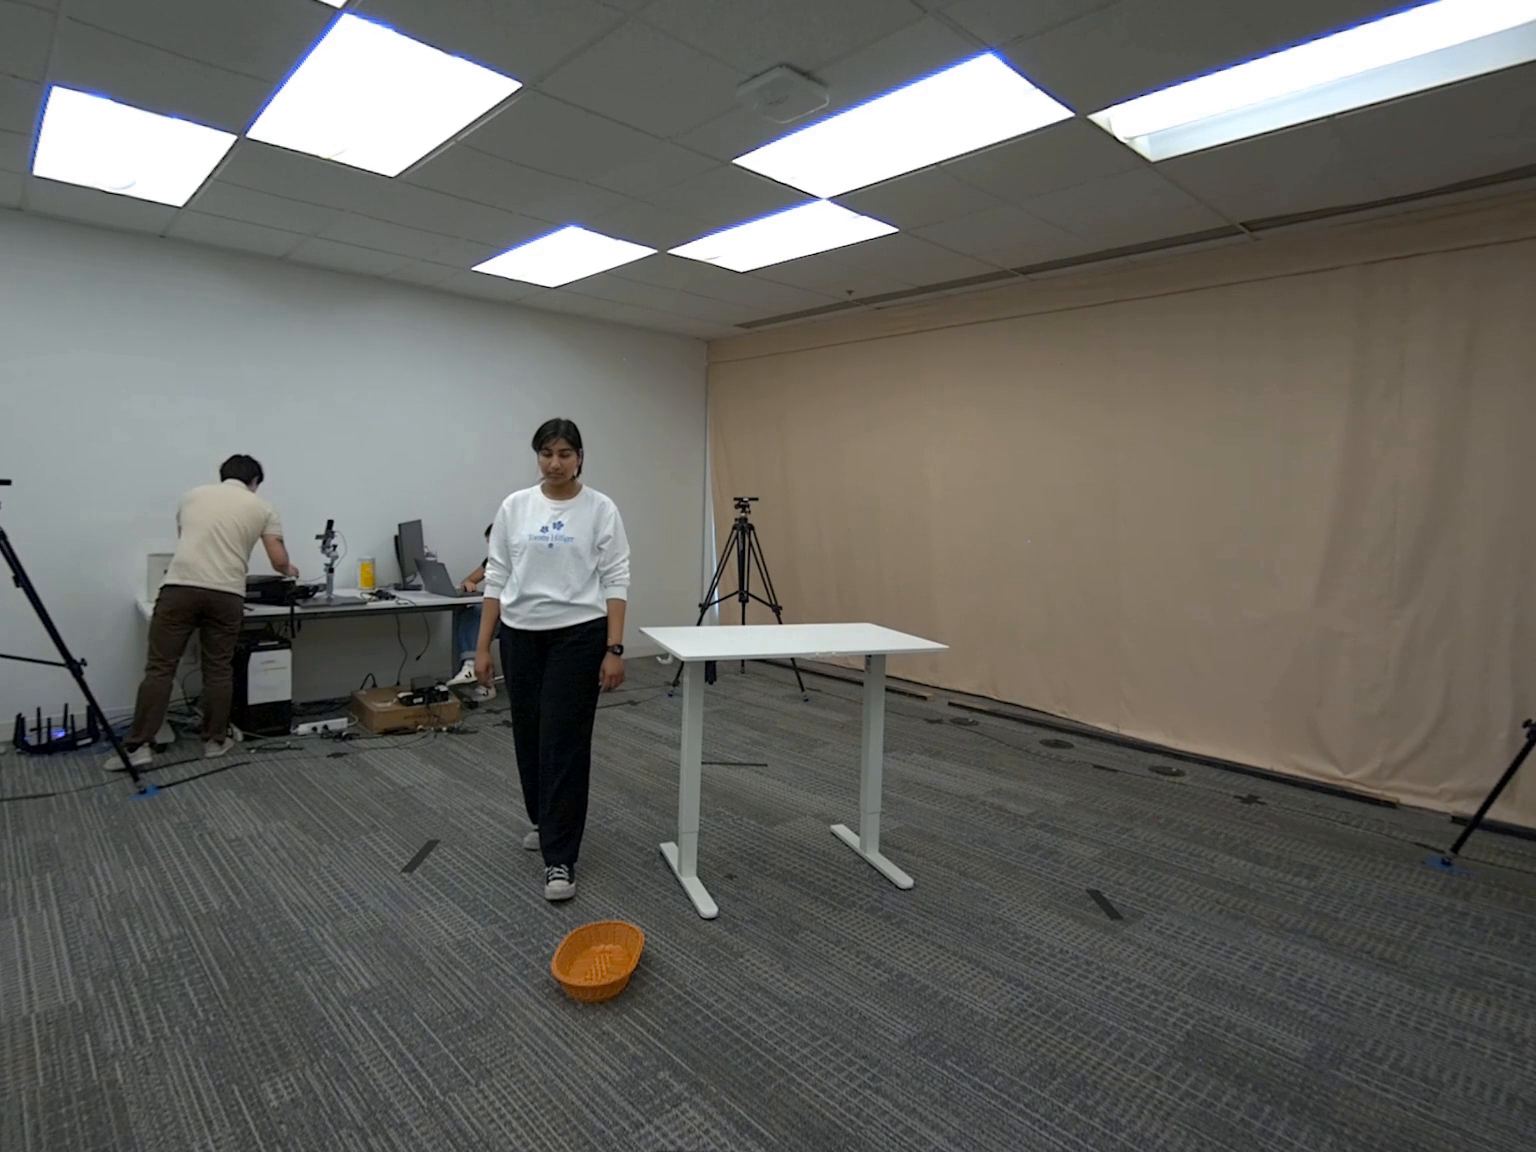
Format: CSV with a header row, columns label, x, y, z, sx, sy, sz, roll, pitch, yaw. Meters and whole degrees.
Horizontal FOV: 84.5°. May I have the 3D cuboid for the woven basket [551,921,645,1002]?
label,x,y,z,sx,sy,sz,roll,pitch,yaw
woven basket,-0.497,1.122,2.446,0.253,0.073,0.350,0,5,4
